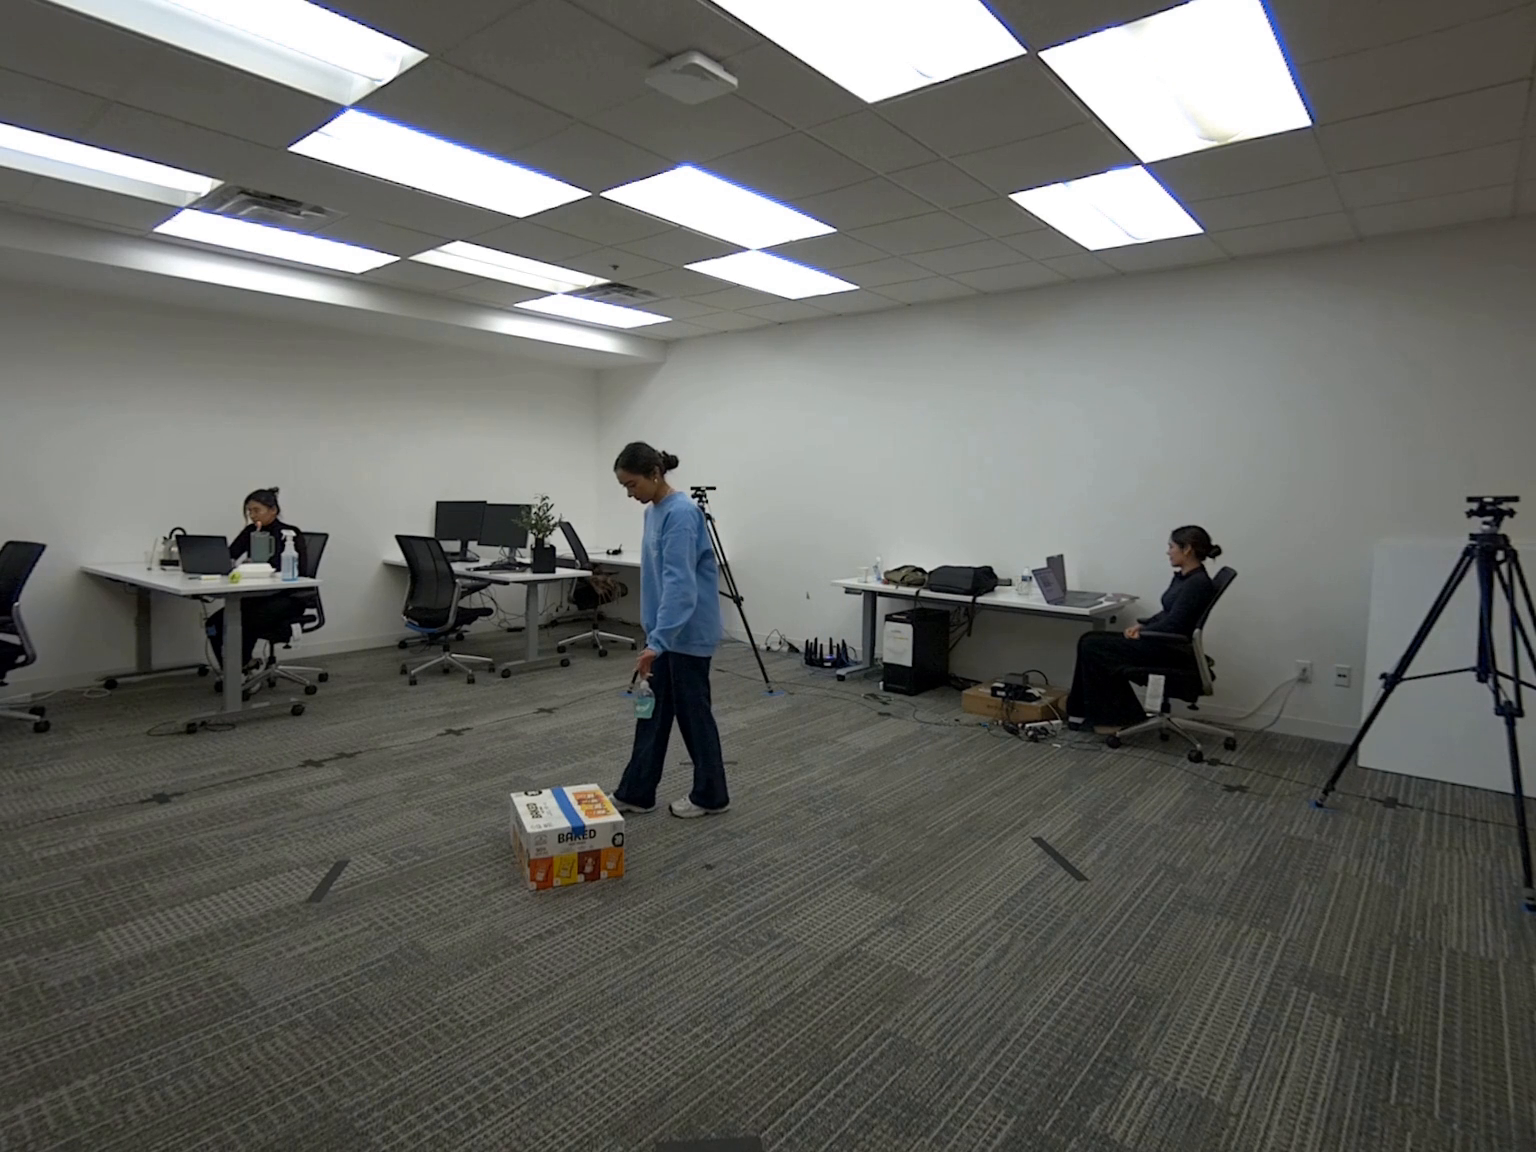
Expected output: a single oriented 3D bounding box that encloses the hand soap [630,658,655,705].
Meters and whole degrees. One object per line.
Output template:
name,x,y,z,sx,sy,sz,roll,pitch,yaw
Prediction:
hand soap,-0.485,0.405,3.245,0.085,0.168,0.043,-1,0,9
